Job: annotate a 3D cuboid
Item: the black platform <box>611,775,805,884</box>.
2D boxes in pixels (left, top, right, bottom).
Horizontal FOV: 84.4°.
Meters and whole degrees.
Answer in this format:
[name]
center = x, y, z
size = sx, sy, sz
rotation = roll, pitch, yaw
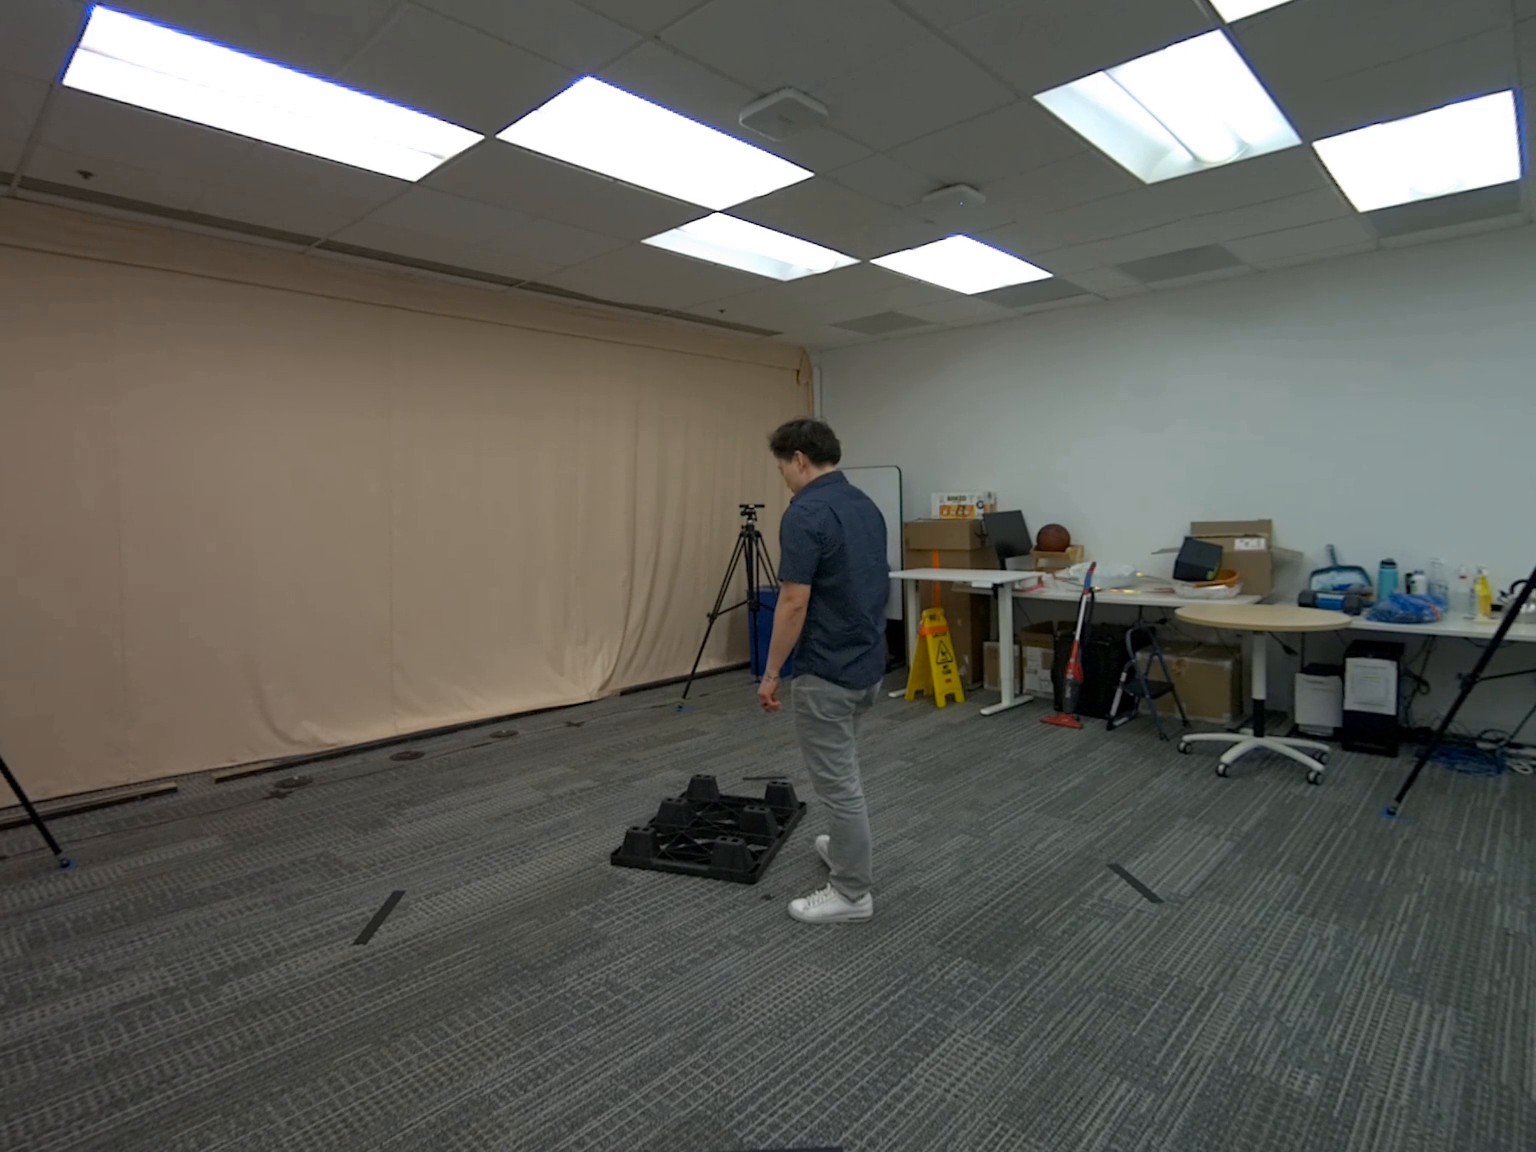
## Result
[black platform]
center = -0.225, 1.030, 3.552
size = 0.617, 0.143, 0.791
rotation = 0, 5, 18
